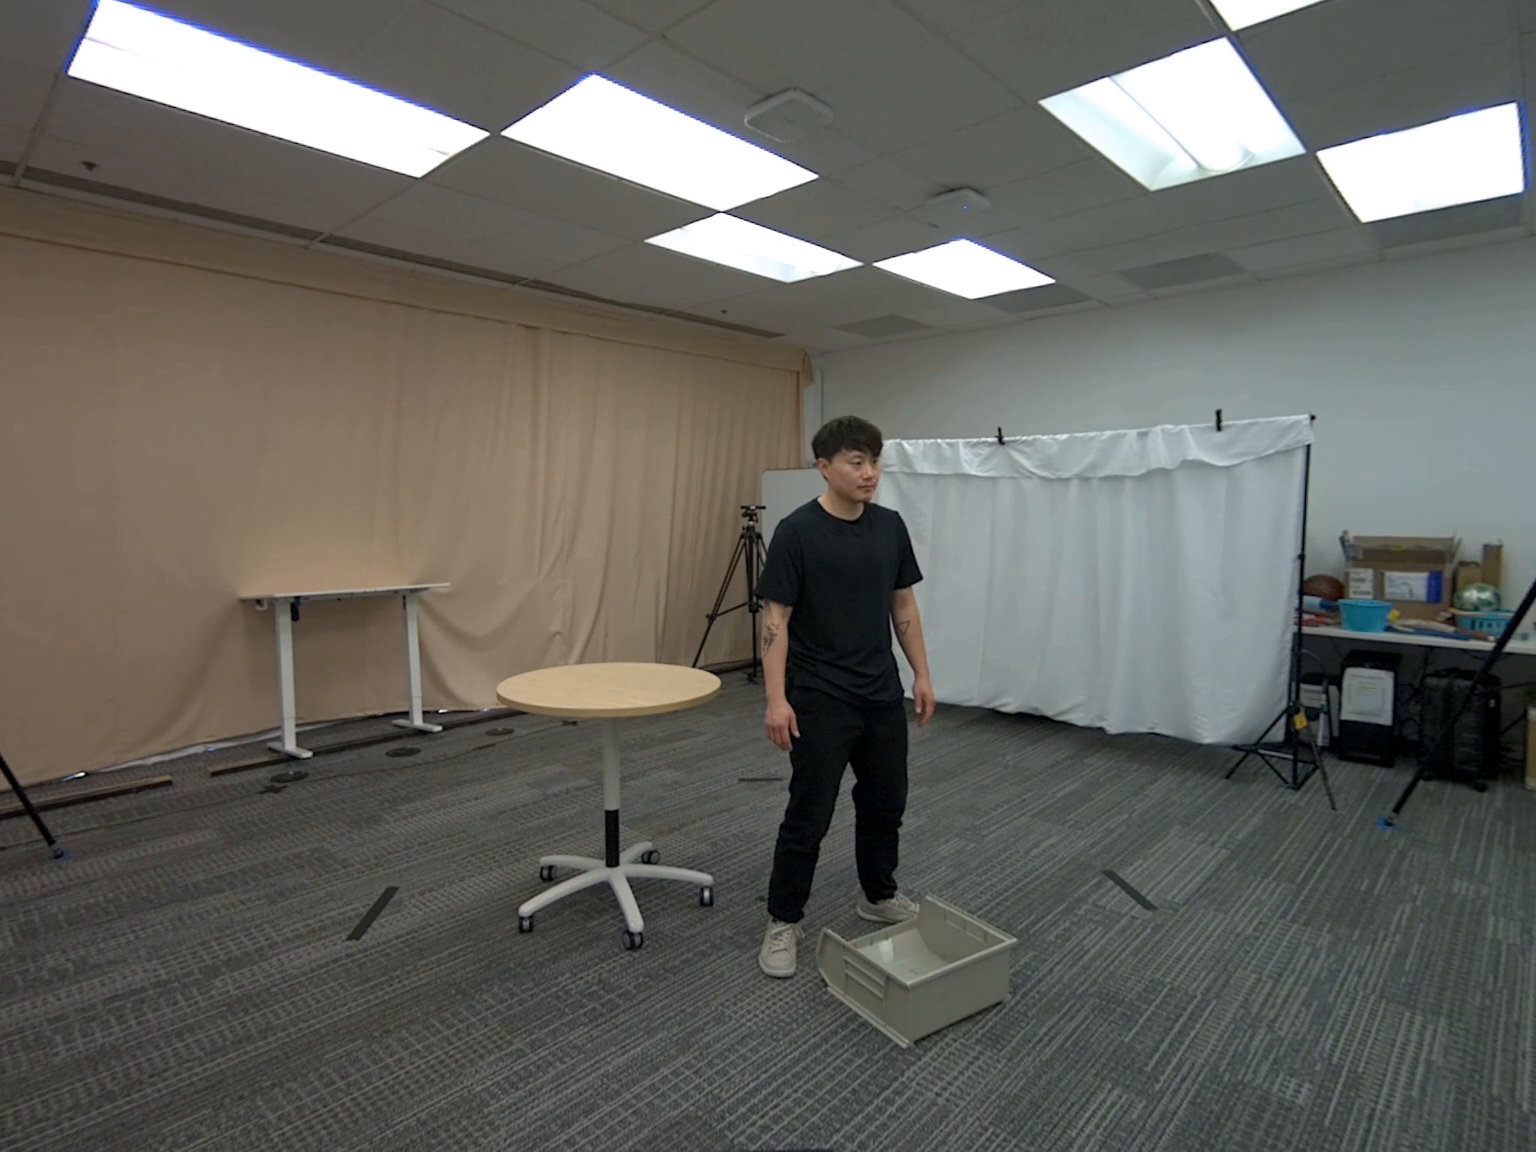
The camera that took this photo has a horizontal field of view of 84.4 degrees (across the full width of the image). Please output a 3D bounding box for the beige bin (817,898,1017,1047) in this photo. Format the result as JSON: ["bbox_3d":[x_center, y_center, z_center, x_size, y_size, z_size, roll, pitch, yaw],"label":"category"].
[{"bbox_3d":[0.423,1.104,2.402,0.410,0.188,0.389,-2,5,-33],"label":"beige bin"}]
